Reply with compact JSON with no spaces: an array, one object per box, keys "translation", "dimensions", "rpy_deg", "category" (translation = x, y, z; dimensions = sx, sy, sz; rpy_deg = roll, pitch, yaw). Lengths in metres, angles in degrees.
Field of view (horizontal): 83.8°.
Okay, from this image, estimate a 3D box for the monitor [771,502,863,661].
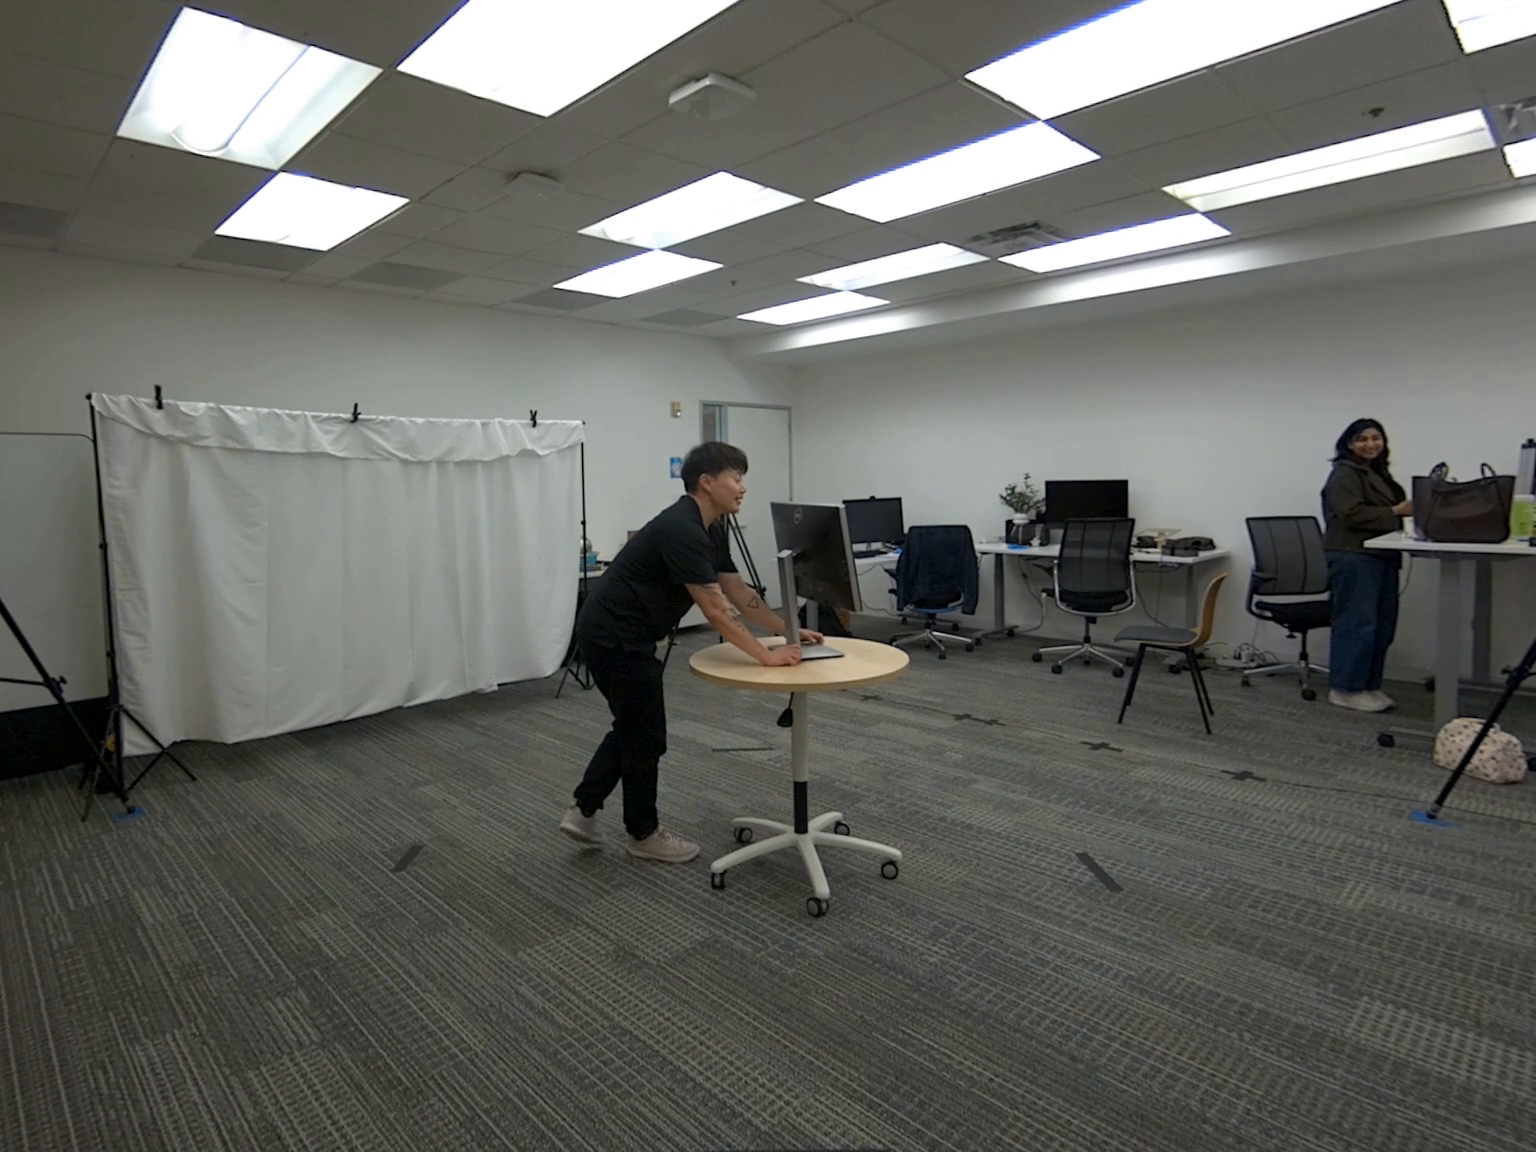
[{"translation":[0.129,0.009,3.060],"dimensions":[0.183,0.520,0.553],"rpy_deg":[-2,5,-26],"category":"monitor"}]
